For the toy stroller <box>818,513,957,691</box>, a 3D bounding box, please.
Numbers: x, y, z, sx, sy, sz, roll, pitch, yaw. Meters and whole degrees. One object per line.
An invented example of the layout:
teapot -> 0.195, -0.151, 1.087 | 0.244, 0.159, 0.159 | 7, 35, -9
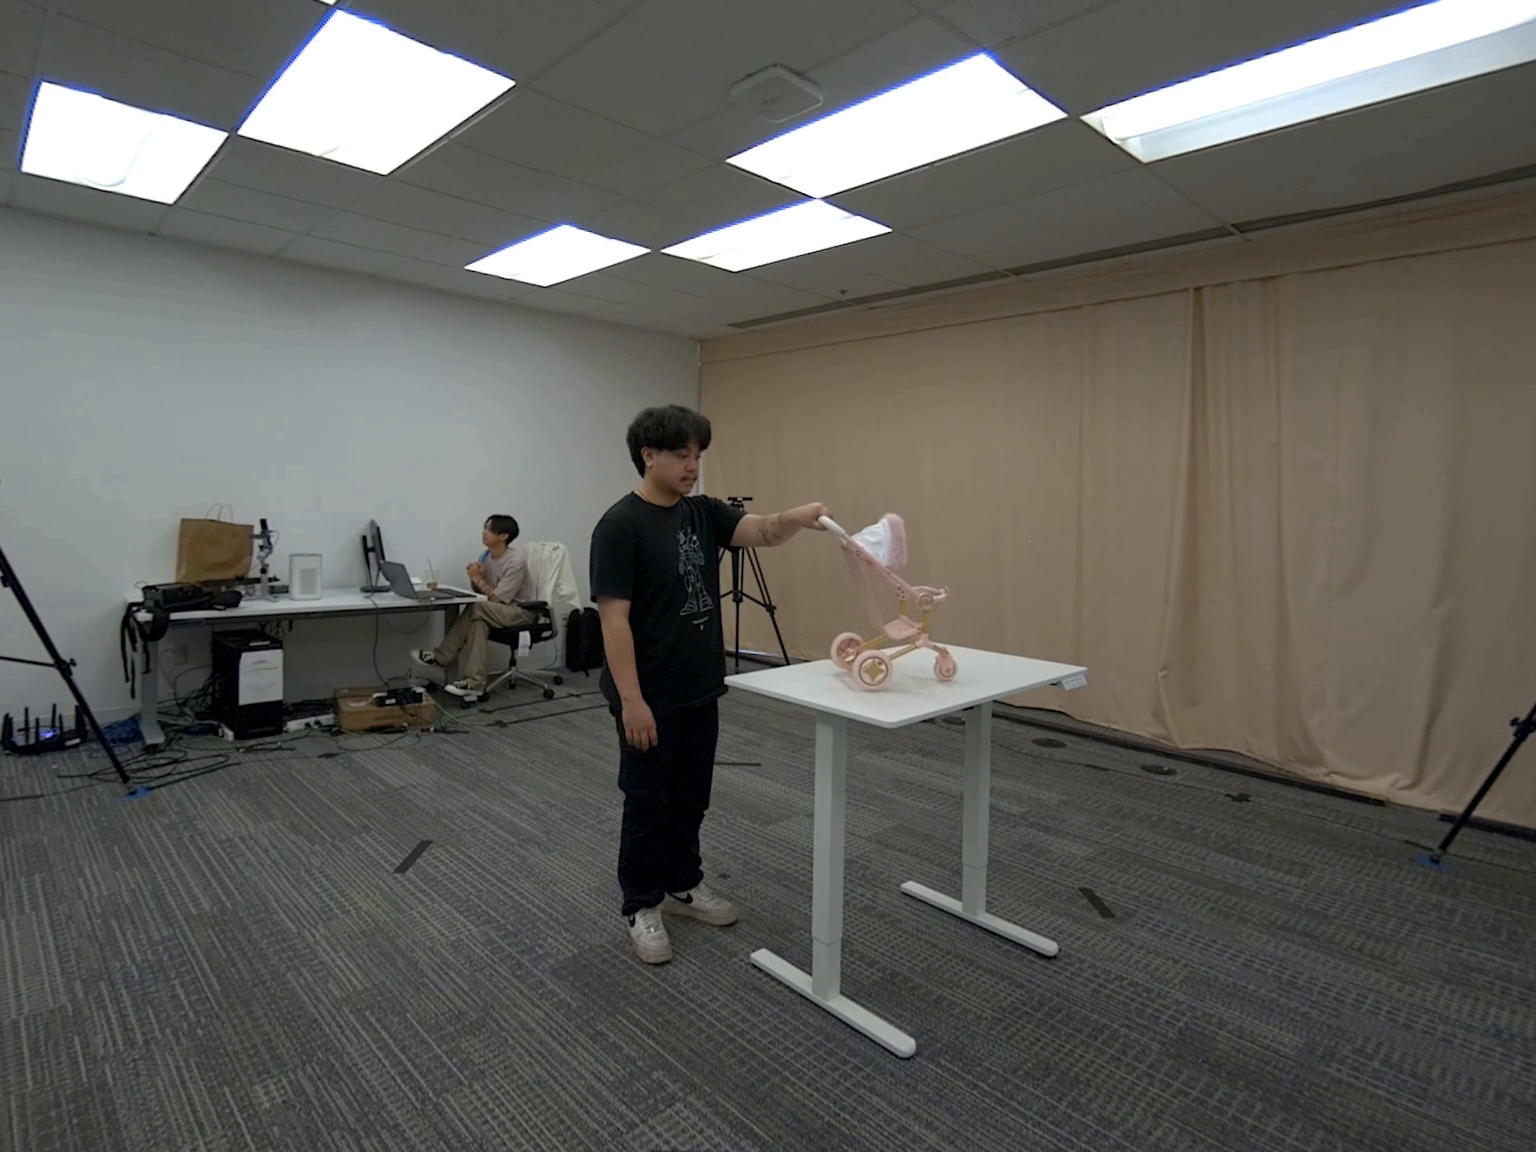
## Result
toy stroller -> 0.344, 0.070, 2.369 | 0.341, 0.532, 0.283 | -9, 5, -3
